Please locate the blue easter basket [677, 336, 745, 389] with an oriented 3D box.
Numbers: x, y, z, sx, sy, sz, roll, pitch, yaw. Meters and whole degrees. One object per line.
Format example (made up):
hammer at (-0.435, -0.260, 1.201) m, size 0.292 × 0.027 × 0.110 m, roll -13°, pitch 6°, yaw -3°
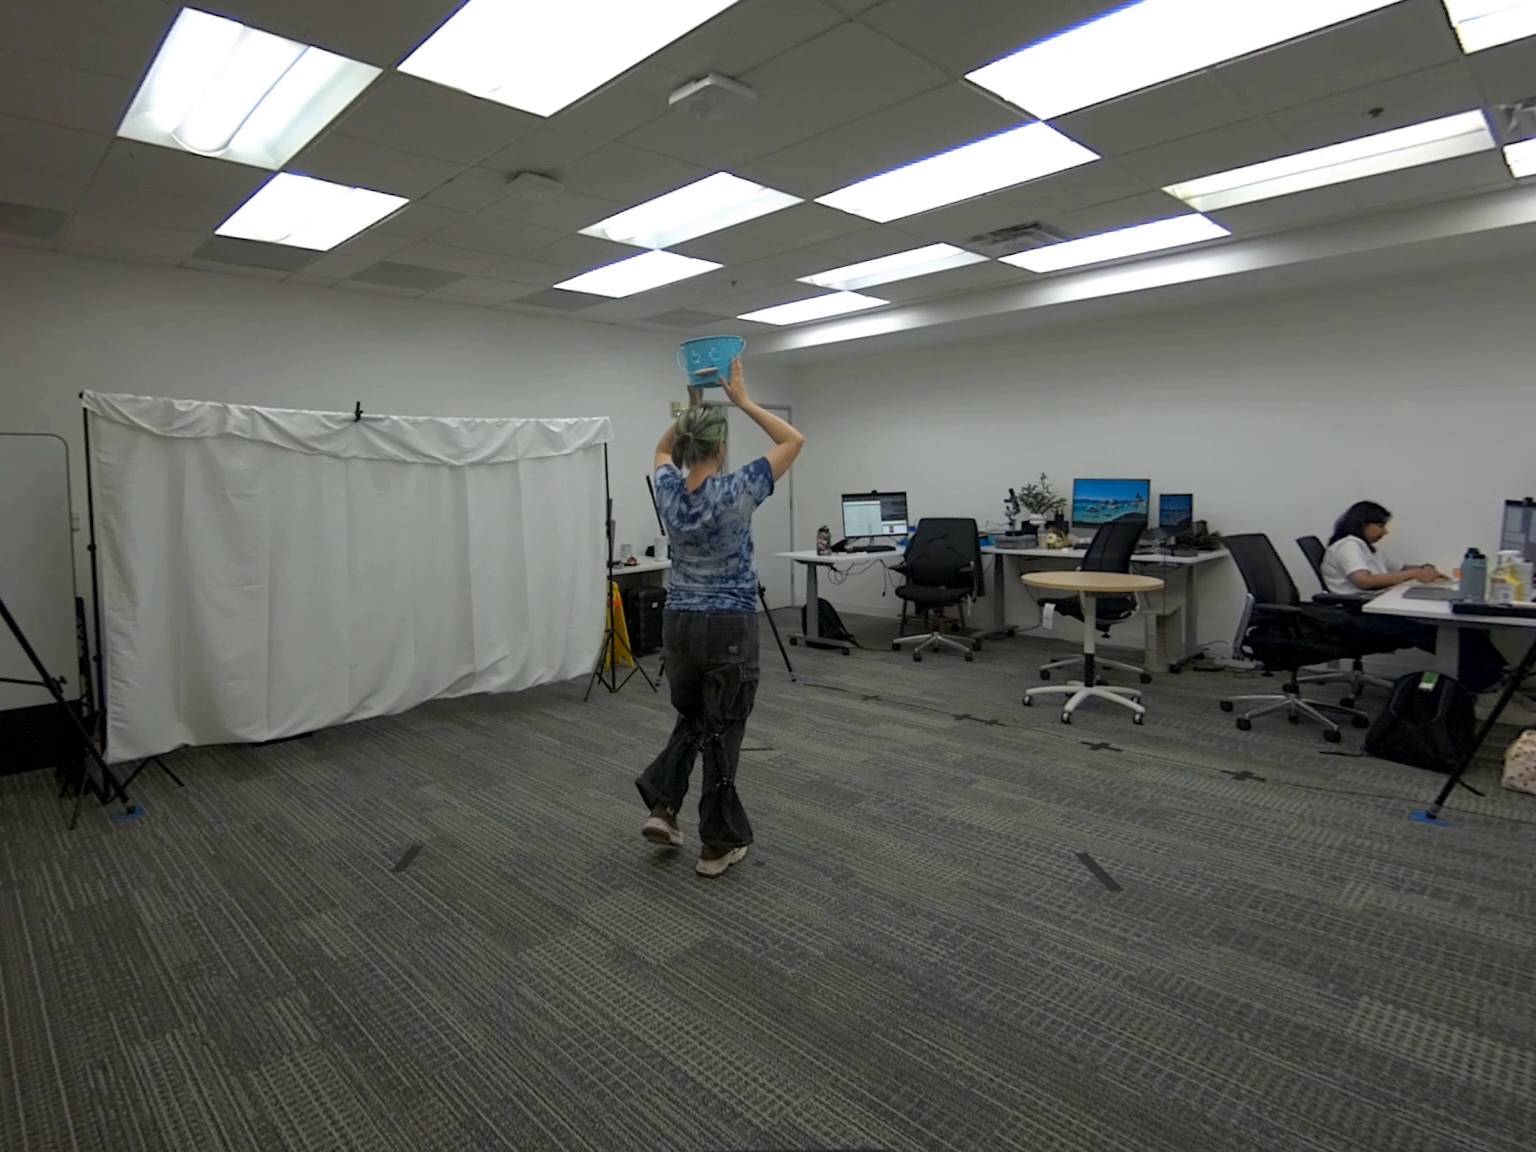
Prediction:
blue easter basket at (-0.207, -0.769, 3.076) m, size 0.243 × 0.155 × 0.244 m, roll -5°, pitch 3°, yaw -1°
